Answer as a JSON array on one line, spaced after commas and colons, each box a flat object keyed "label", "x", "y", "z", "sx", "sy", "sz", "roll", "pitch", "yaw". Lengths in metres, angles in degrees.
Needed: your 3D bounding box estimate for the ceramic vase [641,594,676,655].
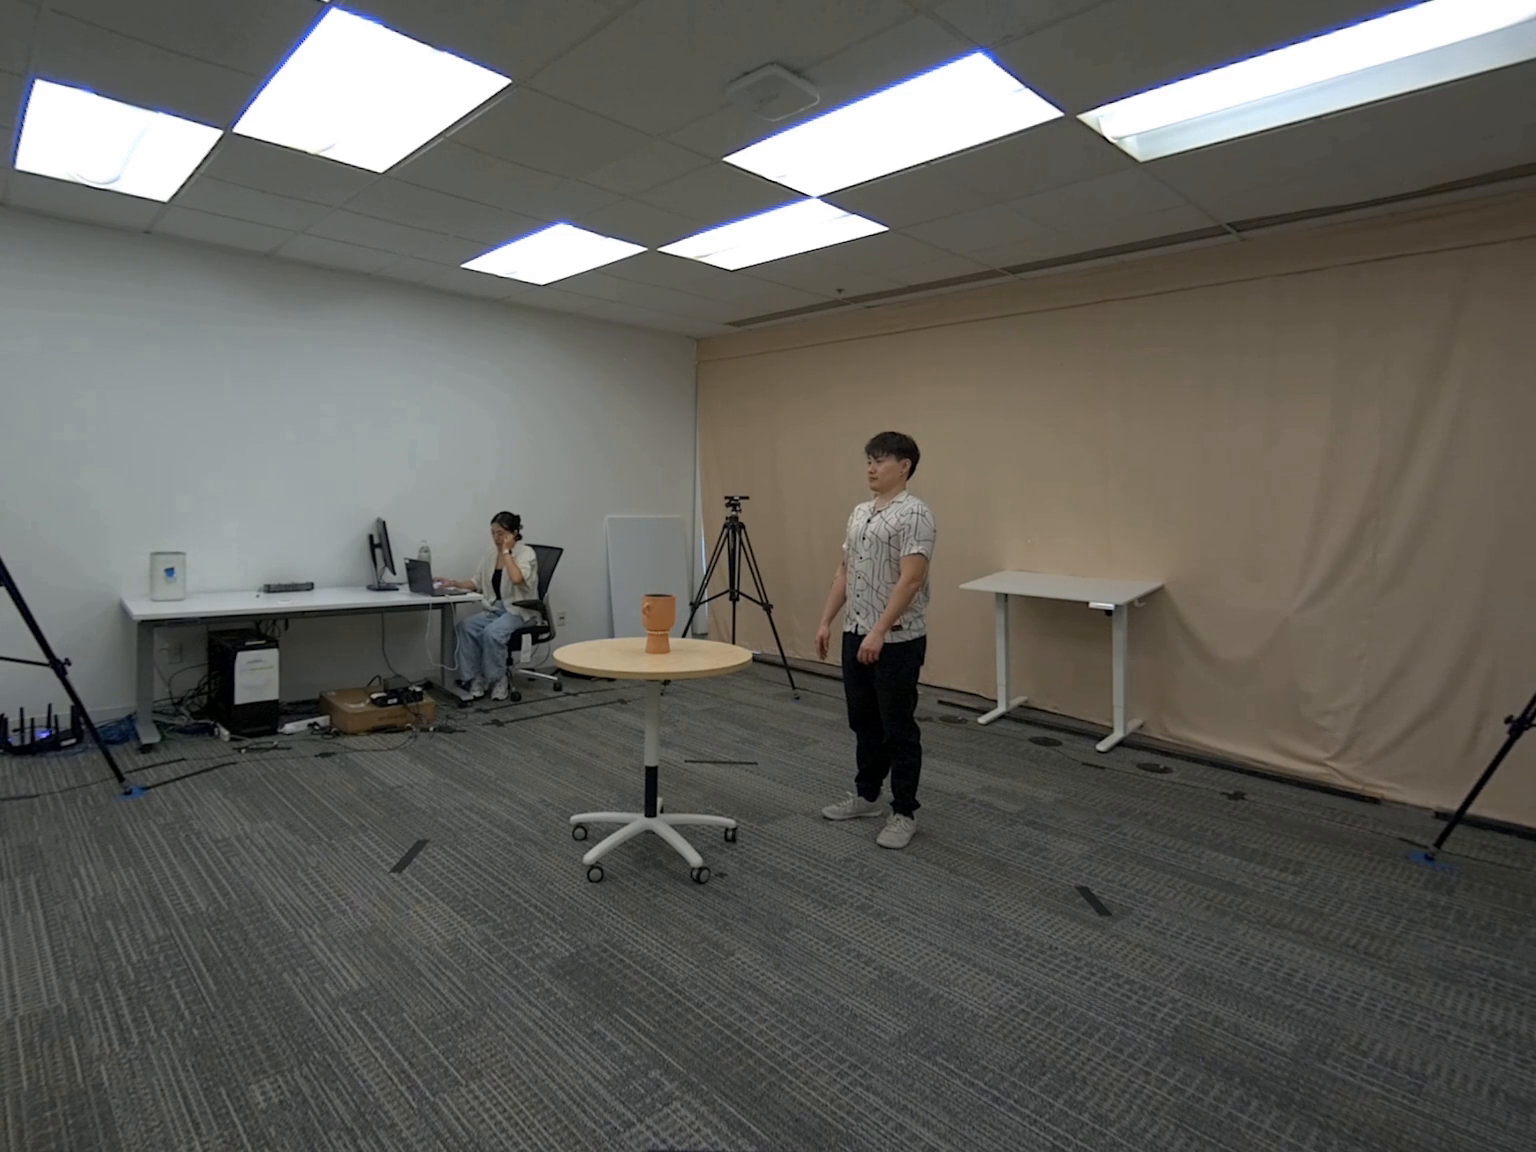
[{"label": "ceramic vase", "x": -0.440, "y": 0.188, "z": 3.287, "sx": 0.156, "sy": 0.219, "sz": 0.137, "roll": 1, "pitch": 2, "yaw": -22}]
